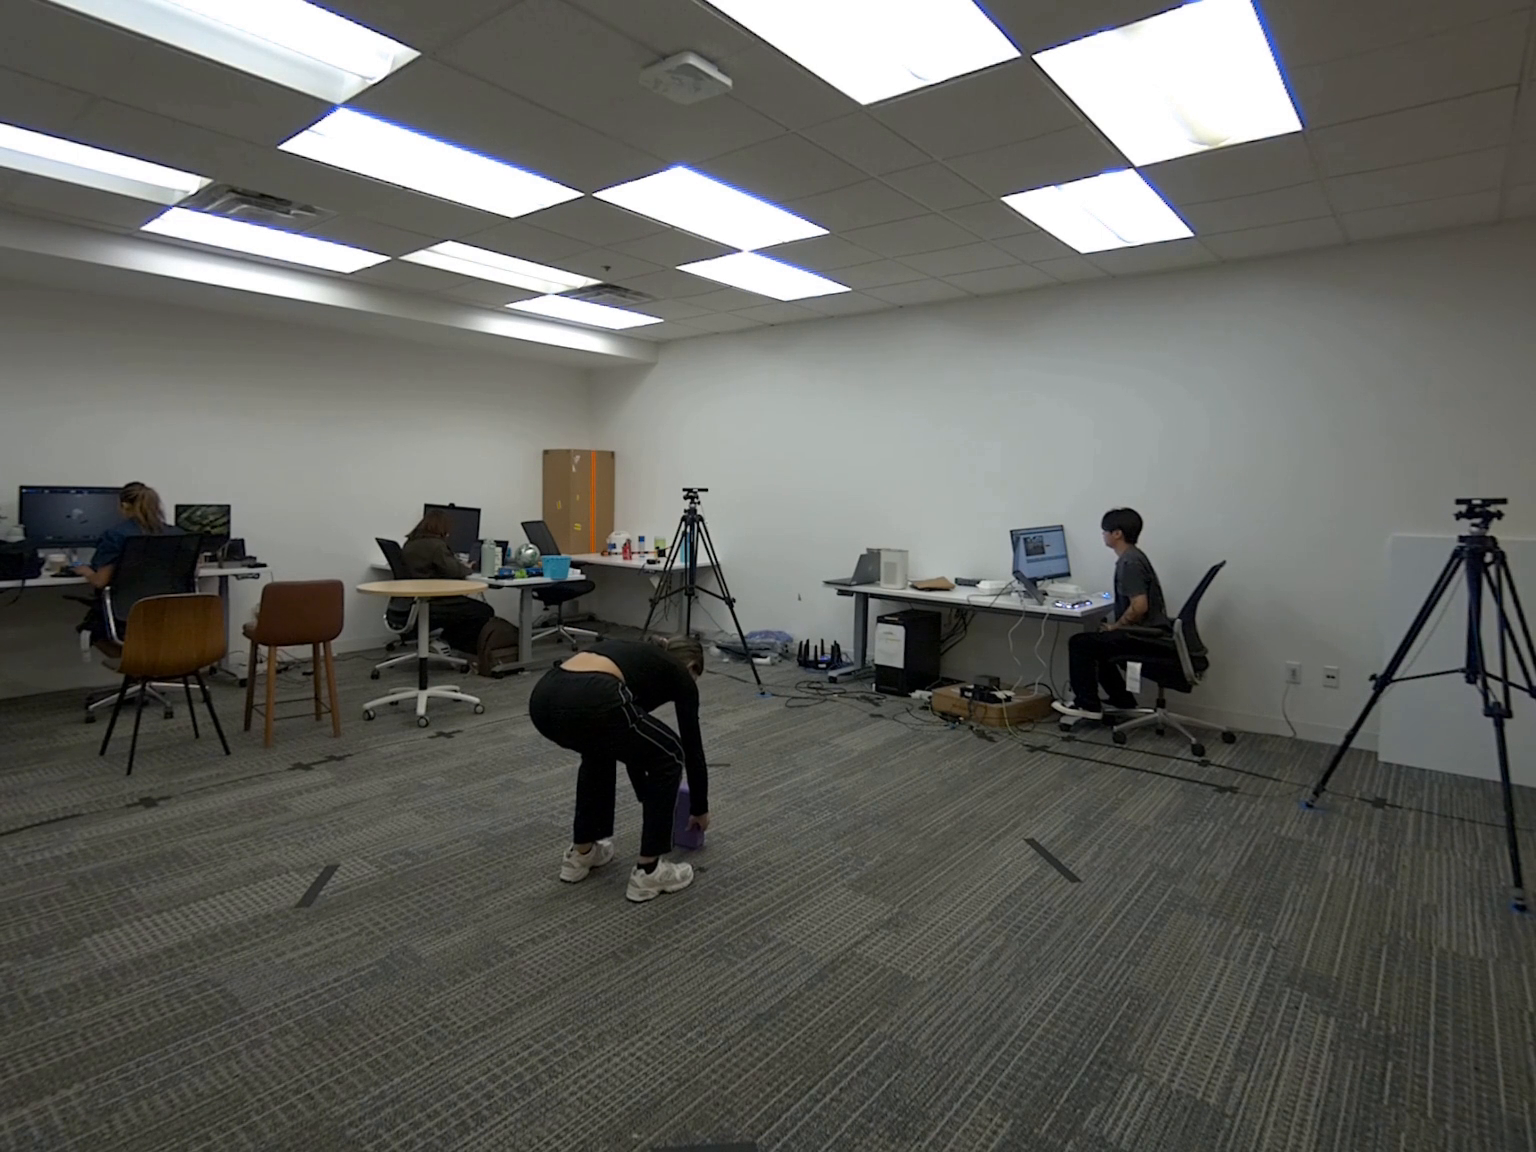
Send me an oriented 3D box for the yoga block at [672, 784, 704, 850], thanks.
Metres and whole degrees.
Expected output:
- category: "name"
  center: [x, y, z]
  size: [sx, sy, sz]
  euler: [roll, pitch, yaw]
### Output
- category: "yoga block"
  center: [-0.335, 0.932, 3.327]
  size: [0.152, 0.229, 0.075]
  euler: [4, 1, 22]
